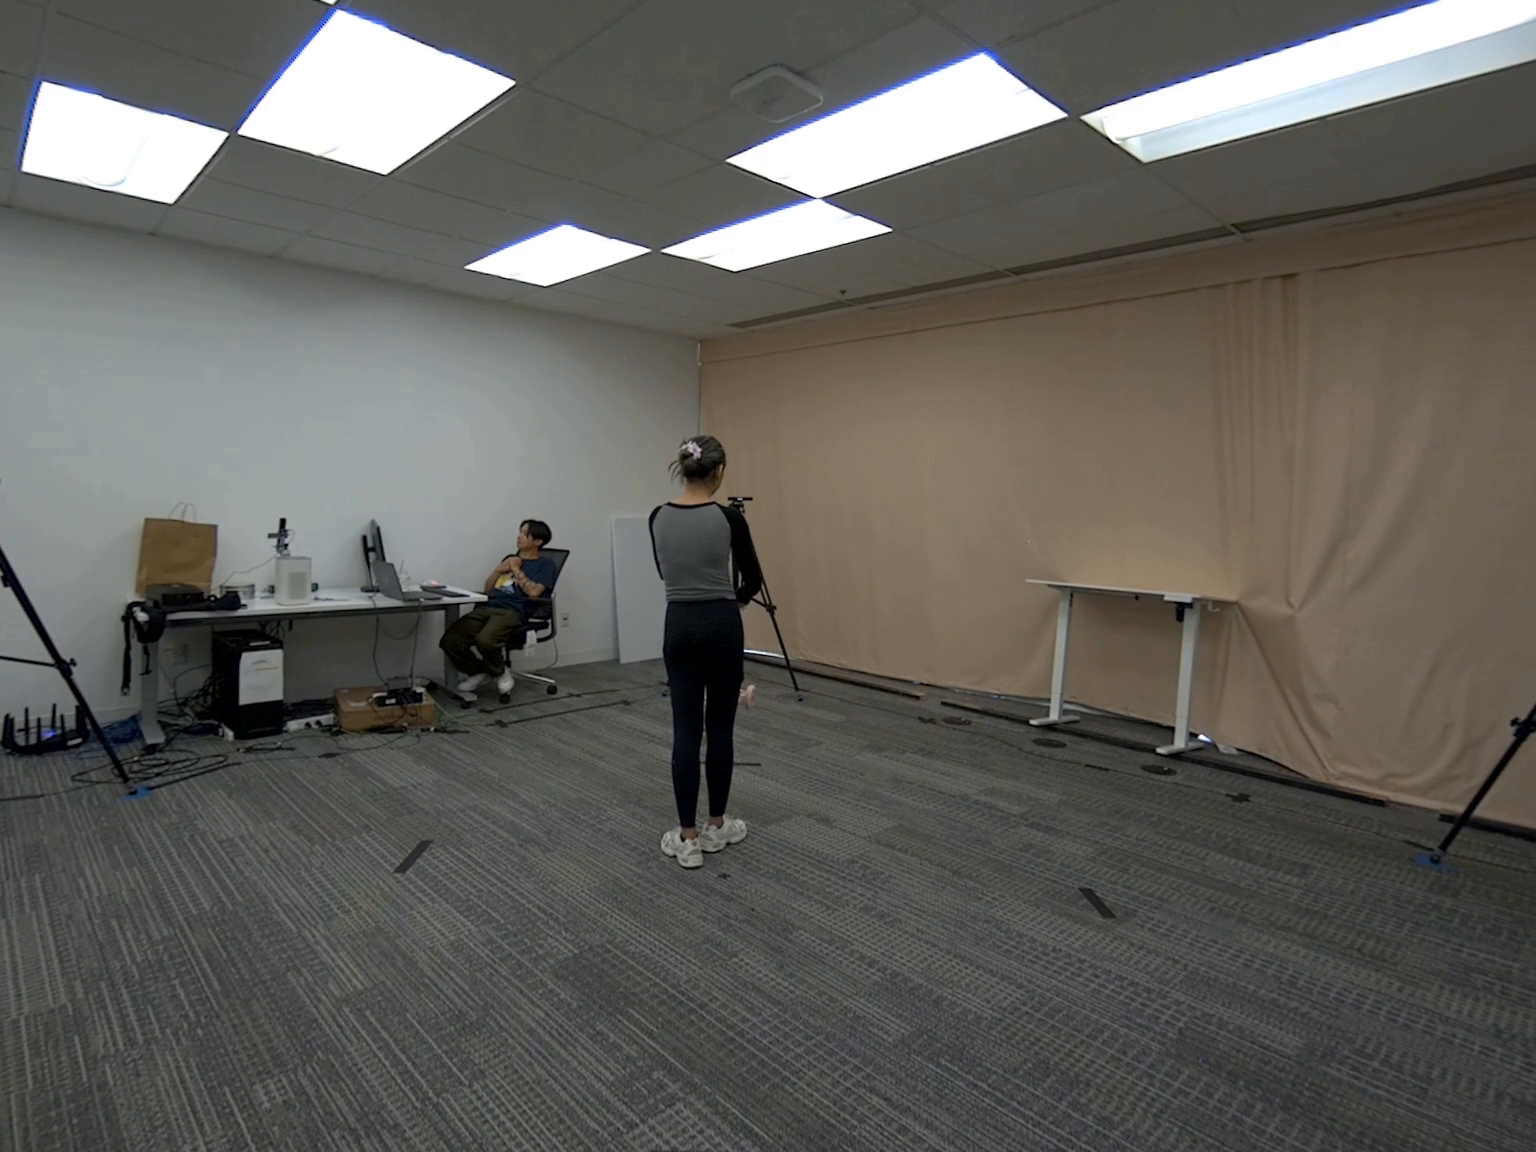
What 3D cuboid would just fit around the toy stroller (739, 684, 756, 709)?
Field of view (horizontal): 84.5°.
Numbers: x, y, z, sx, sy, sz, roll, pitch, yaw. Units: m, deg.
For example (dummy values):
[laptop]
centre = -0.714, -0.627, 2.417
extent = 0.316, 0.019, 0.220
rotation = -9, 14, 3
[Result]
[toy stroller]
centre = -0.246, 0.443, 3.644
extent = 0.287, 0.525, 0.340
rotation = 12, 30, 23
